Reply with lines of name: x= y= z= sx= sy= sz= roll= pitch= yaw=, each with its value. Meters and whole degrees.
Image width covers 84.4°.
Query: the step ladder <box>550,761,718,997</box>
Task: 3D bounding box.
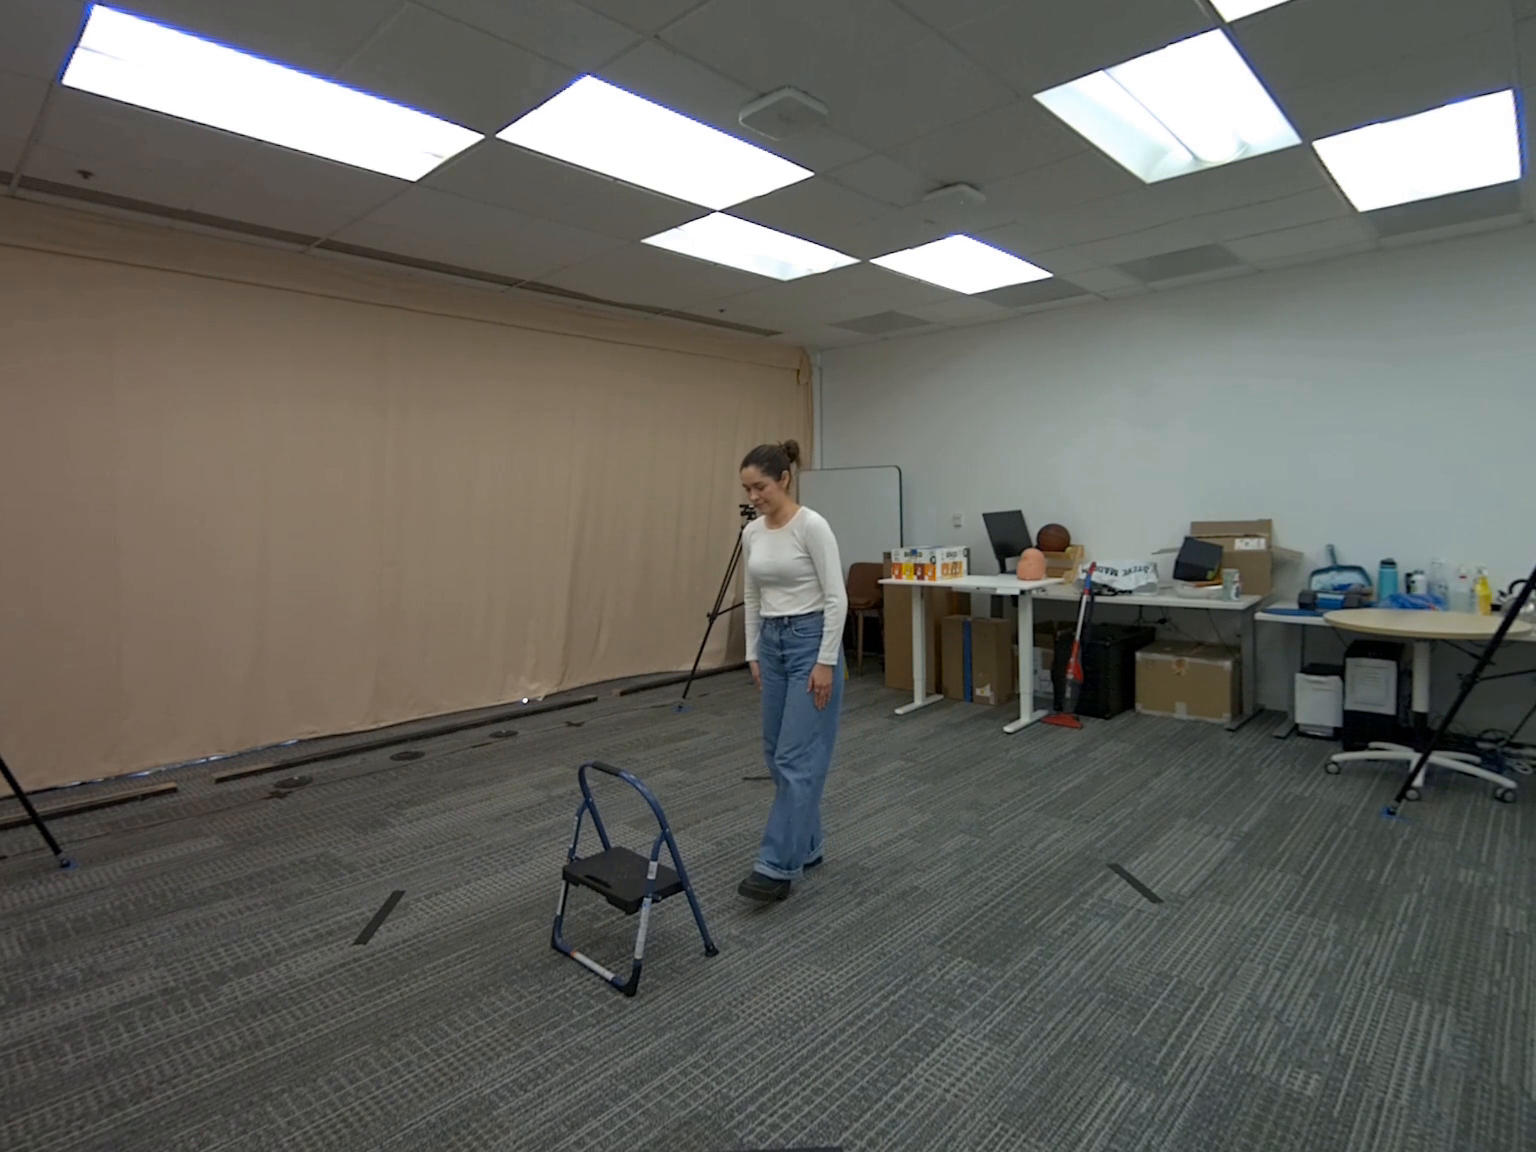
step ladder: x=-0.429 y=0.877 z=2.635 sx=0.445 sy=0.605 sz=0.339 roll=2 pitch=4 yaw=43
